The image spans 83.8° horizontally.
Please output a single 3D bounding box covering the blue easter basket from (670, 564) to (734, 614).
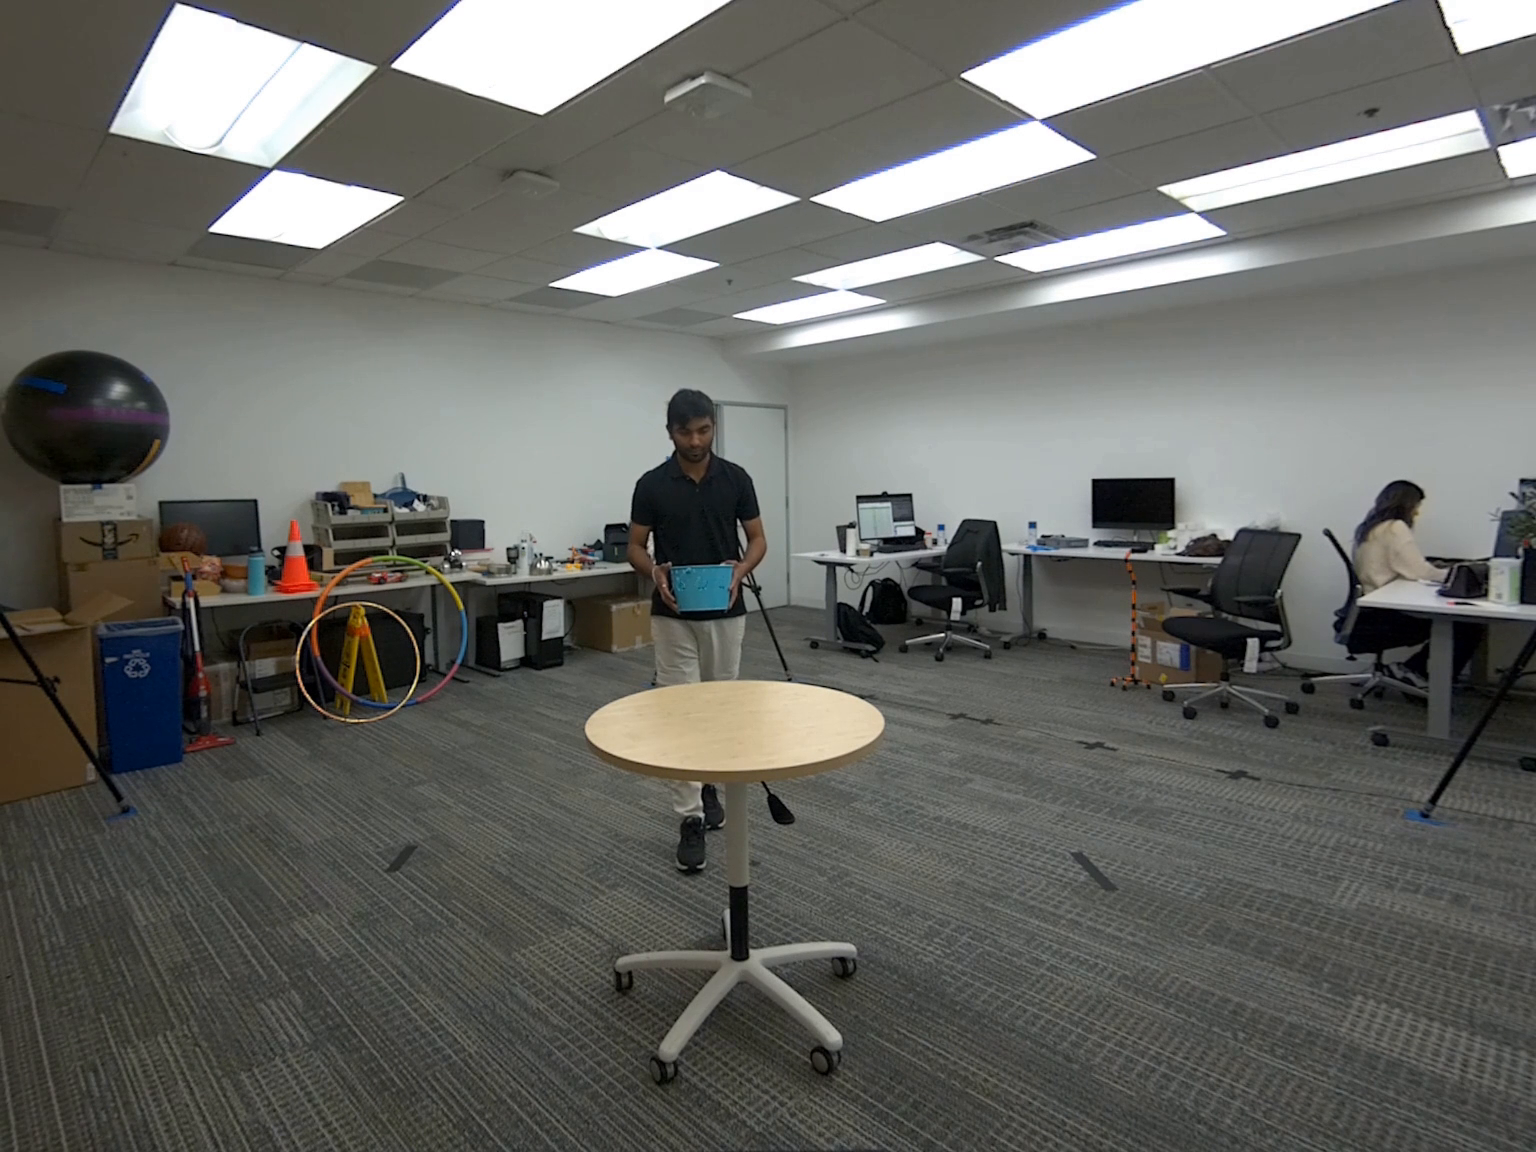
[{"bbox_3d":[-0.240,0.038,3.088,0.243,0.155,0.244,-3,3,-2],"label":"blue easter basket"}]
